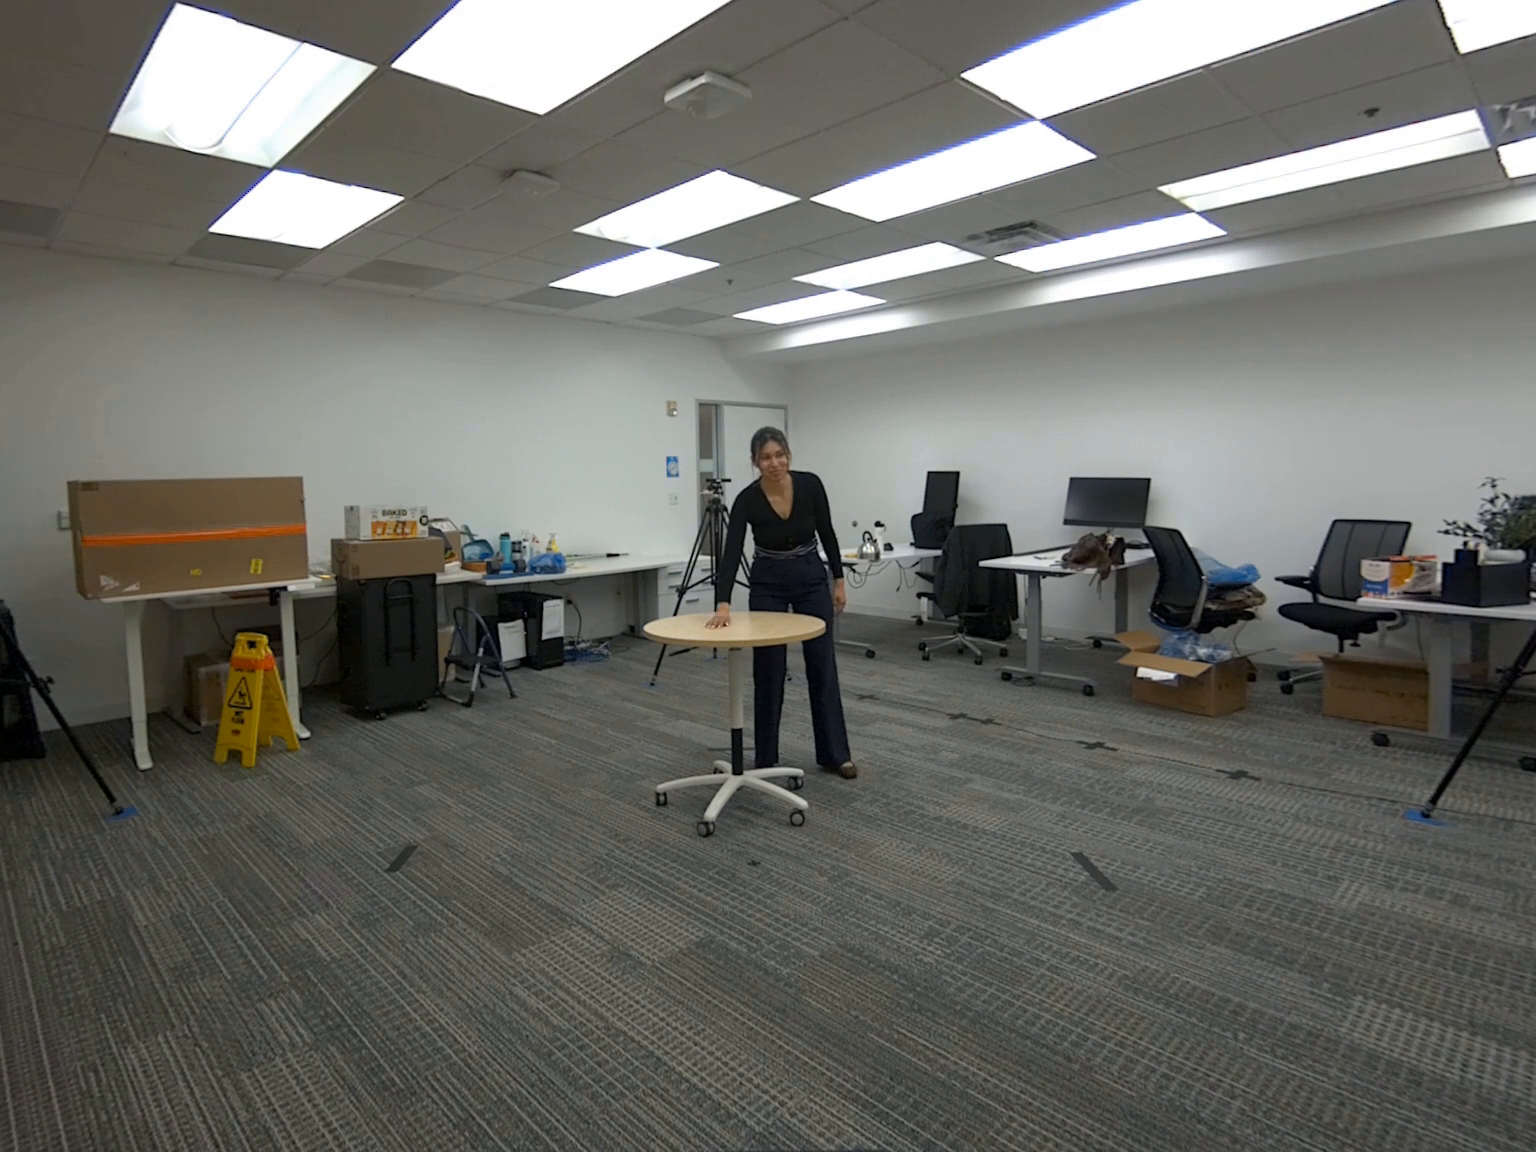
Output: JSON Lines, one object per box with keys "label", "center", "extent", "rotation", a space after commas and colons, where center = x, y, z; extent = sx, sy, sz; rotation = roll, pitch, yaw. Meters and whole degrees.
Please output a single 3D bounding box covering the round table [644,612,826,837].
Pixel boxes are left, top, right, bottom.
{"label": "round table", "center": [-0.131, 0.596, 3.629], "extent": [0.763, 0.791, 0.767], "rotation": [-1, 4, -2]}
